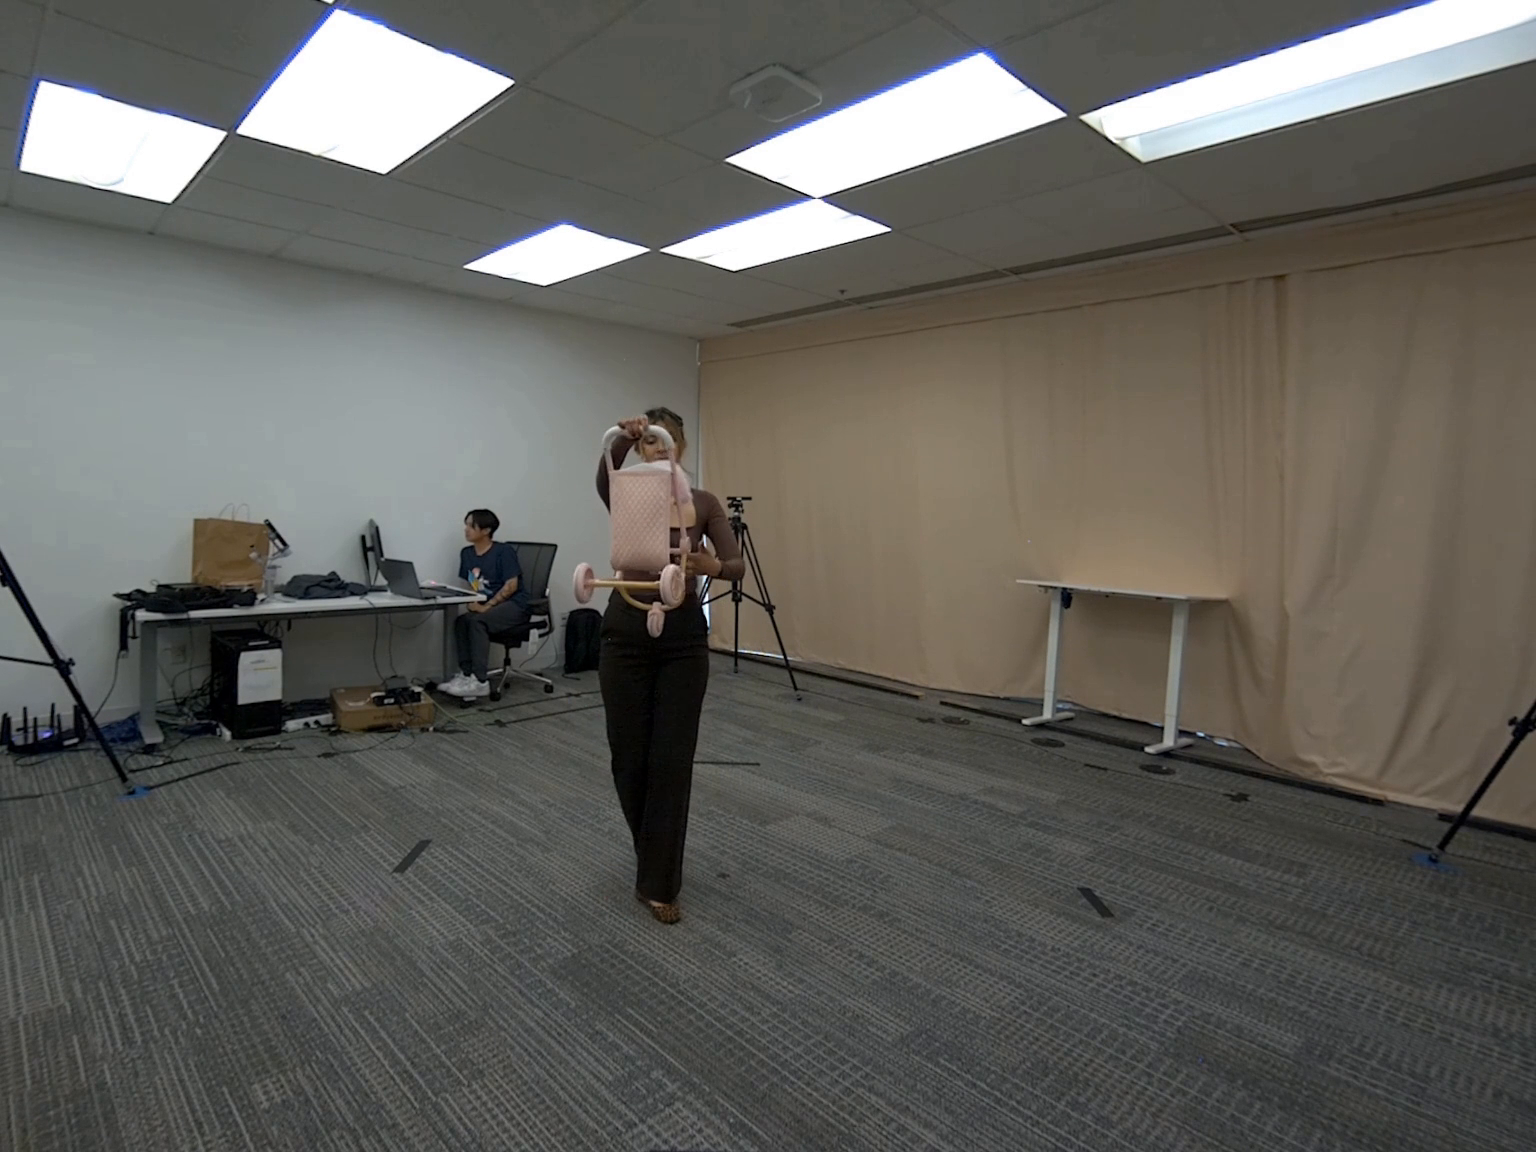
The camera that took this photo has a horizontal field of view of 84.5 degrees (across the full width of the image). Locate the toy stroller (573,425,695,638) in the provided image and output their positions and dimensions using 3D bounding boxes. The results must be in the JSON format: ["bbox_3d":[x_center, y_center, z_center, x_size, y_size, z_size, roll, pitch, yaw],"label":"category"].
[{"bbox_3d":[-0.344,-0.107,2.362,0.285,0.539,0.333,-1,-13,18],"label":"toy stroller"}]
